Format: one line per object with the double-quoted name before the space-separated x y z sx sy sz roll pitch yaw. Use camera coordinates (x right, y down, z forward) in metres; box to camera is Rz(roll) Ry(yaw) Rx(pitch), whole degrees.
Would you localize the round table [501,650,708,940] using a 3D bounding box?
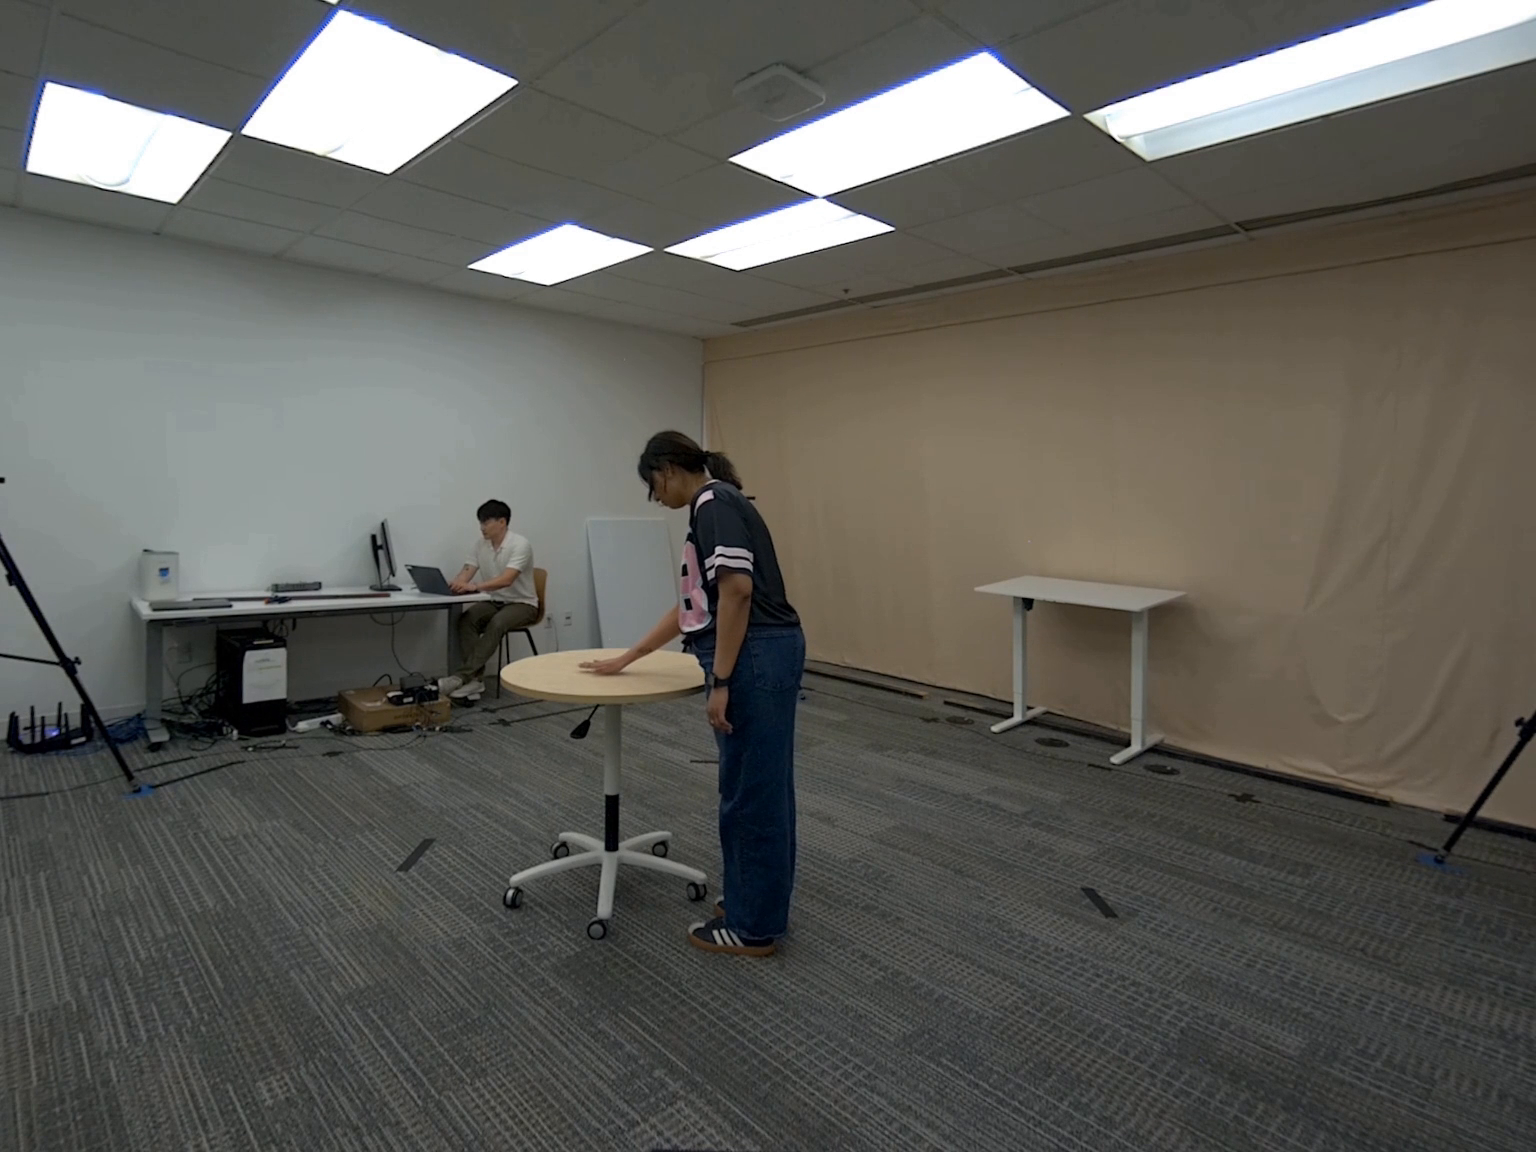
"round table" -0.560 0.718 2.948 0.784 0.784 0.788 1 4 -1
